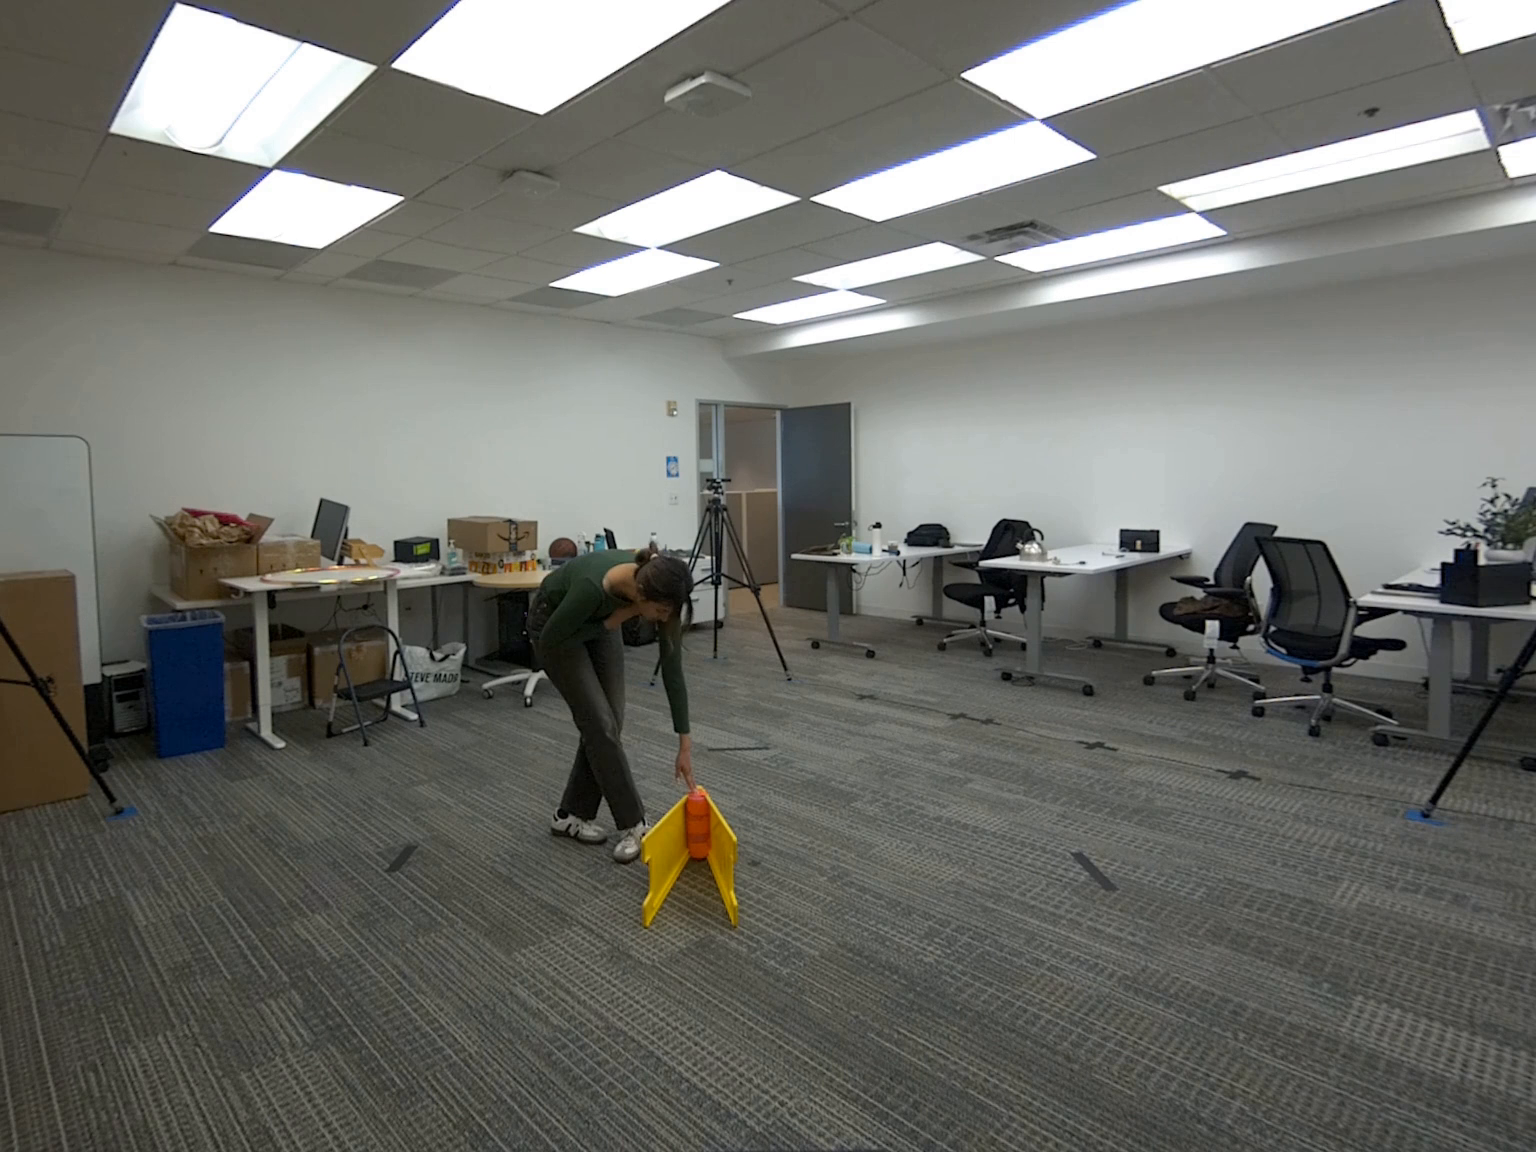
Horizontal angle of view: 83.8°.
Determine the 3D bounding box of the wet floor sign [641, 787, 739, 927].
[{"bbox_3d":[-0.254,0.929,2.985,0.289,0.281,0.648,-1,4,-2],"label":"wet floor sign"}]
